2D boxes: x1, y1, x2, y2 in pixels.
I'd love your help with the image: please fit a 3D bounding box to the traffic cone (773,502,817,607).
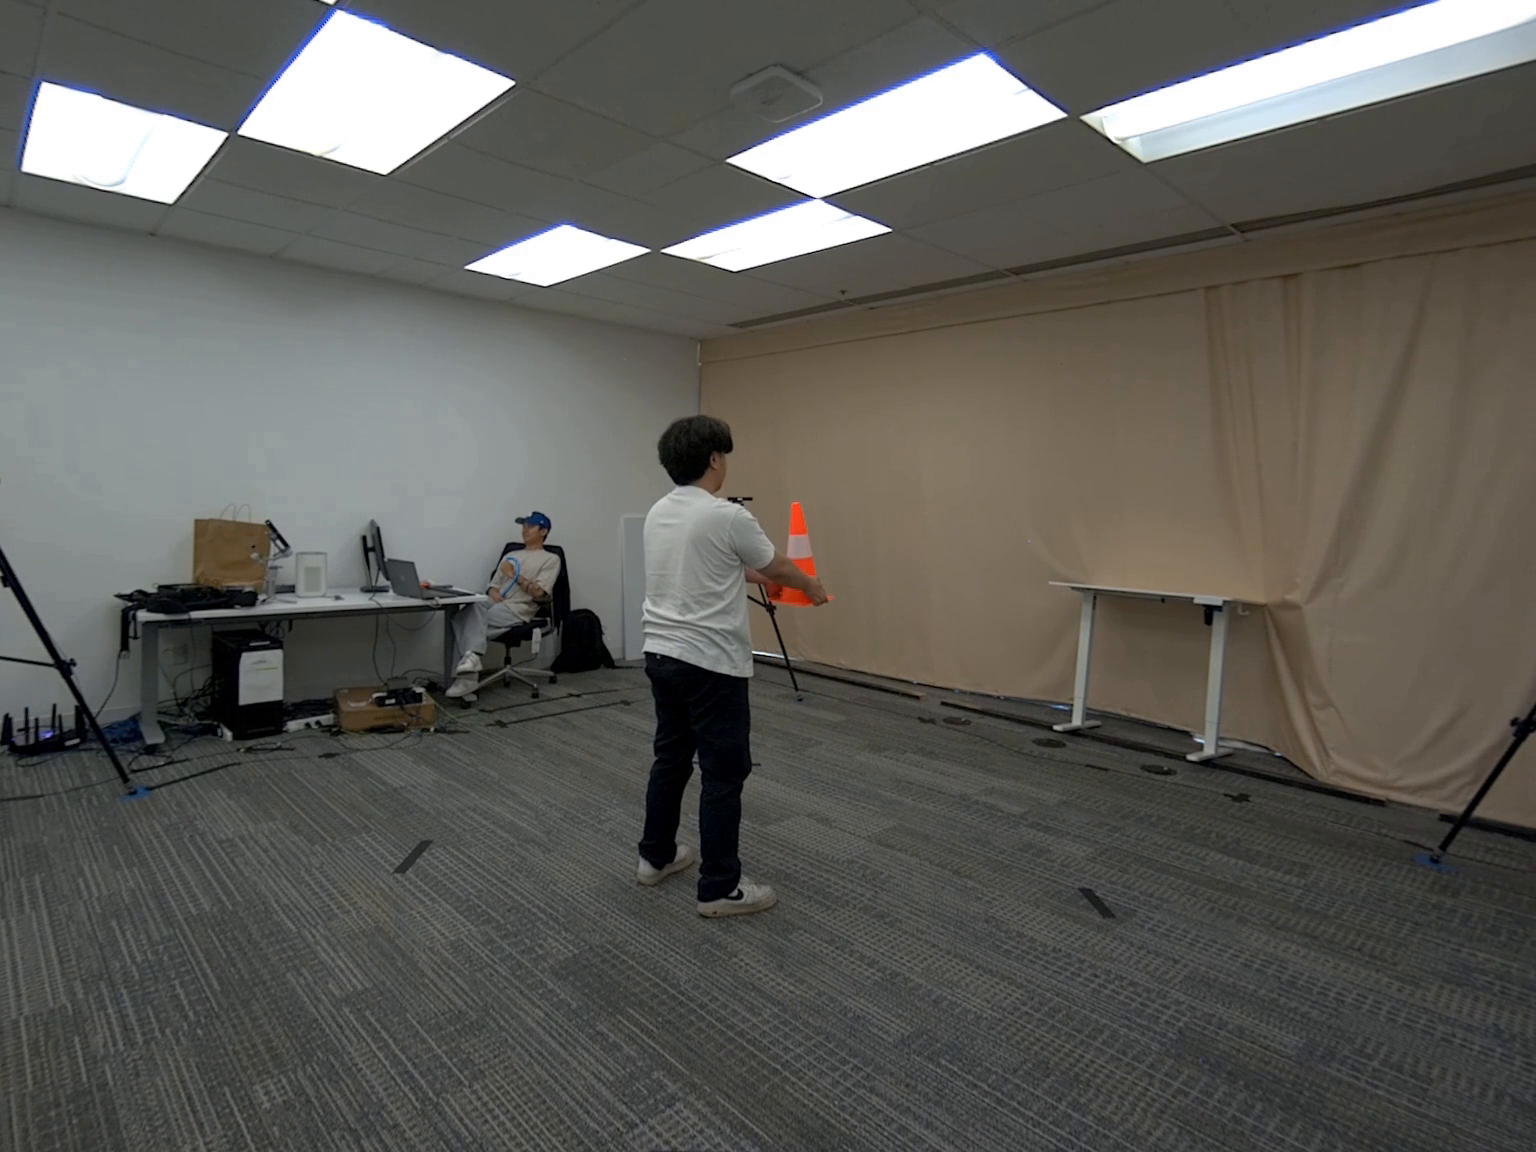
[{"bbox_3d":[0.114,-0.099,3.296,0.209,0.382,0.200,2,8,32],"label":"traffic cone"}]
